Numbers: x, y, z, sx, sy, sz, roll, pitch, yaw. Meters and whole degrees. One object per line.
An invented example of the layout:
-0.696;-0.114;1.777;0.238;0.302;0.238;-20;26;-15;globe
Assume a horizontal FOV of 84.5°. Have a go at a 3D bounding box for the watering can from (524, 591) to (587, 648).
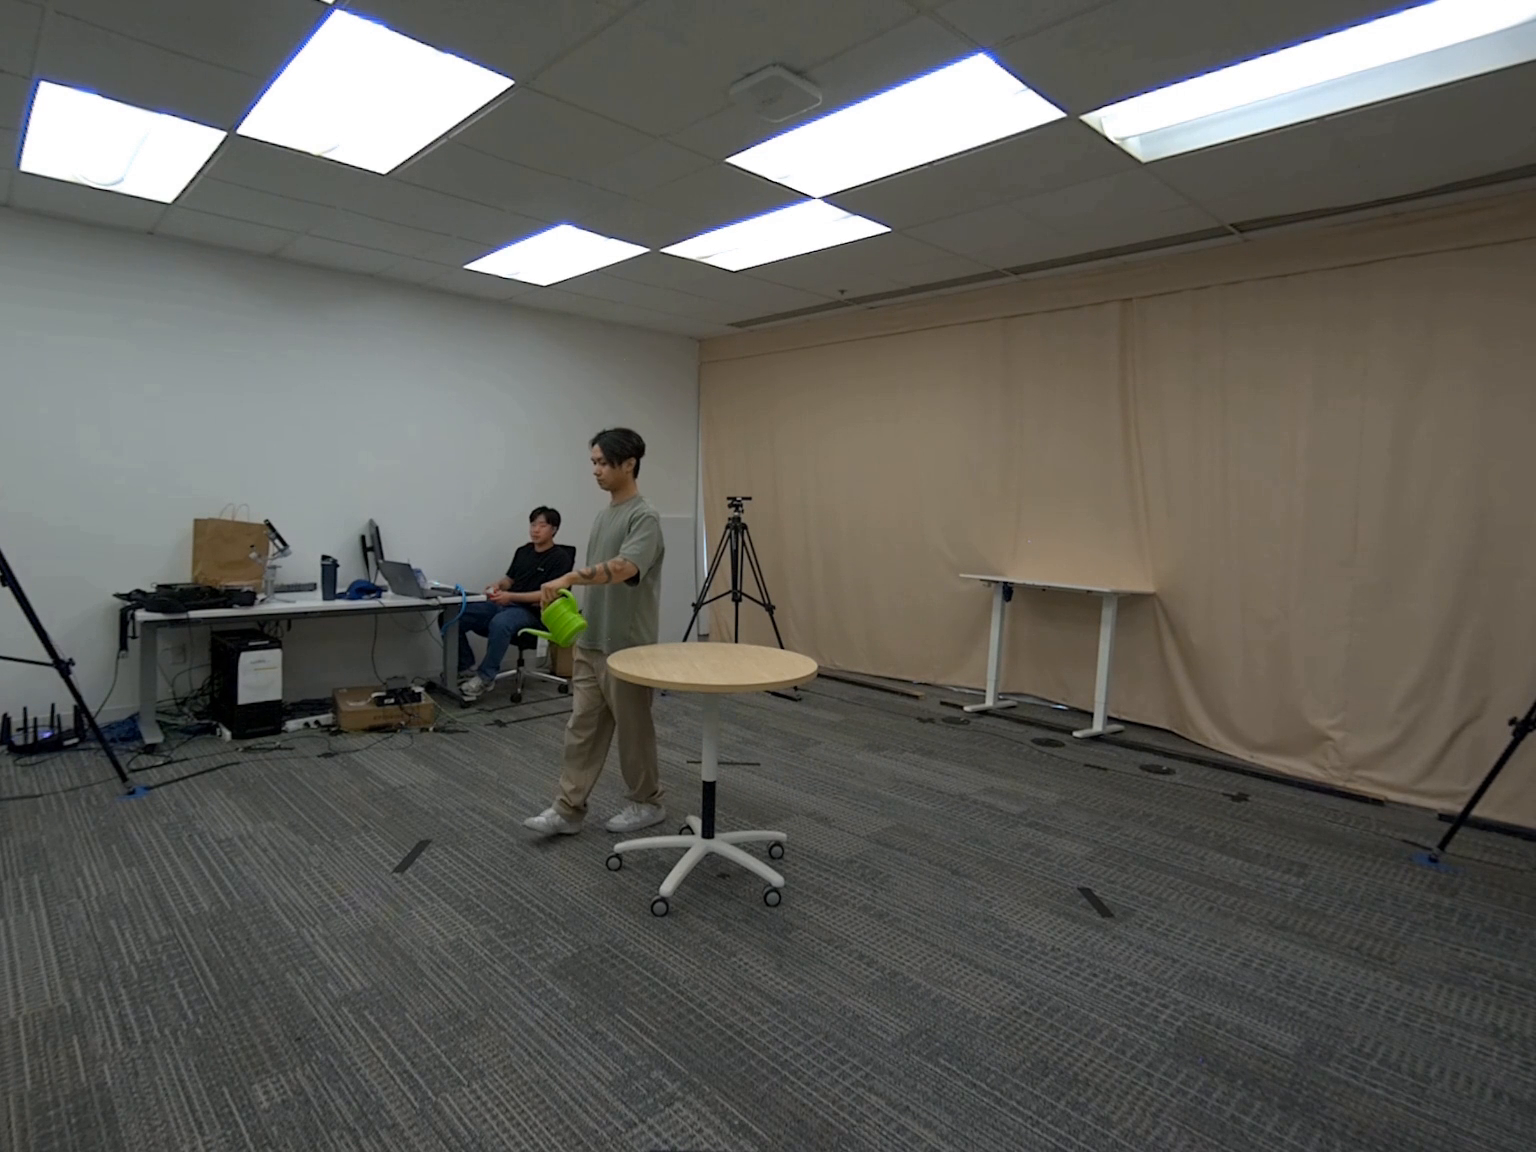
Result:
-0.774;0.180;3.033;0.278;0.180;0.096;-49;-19;30;watering can
